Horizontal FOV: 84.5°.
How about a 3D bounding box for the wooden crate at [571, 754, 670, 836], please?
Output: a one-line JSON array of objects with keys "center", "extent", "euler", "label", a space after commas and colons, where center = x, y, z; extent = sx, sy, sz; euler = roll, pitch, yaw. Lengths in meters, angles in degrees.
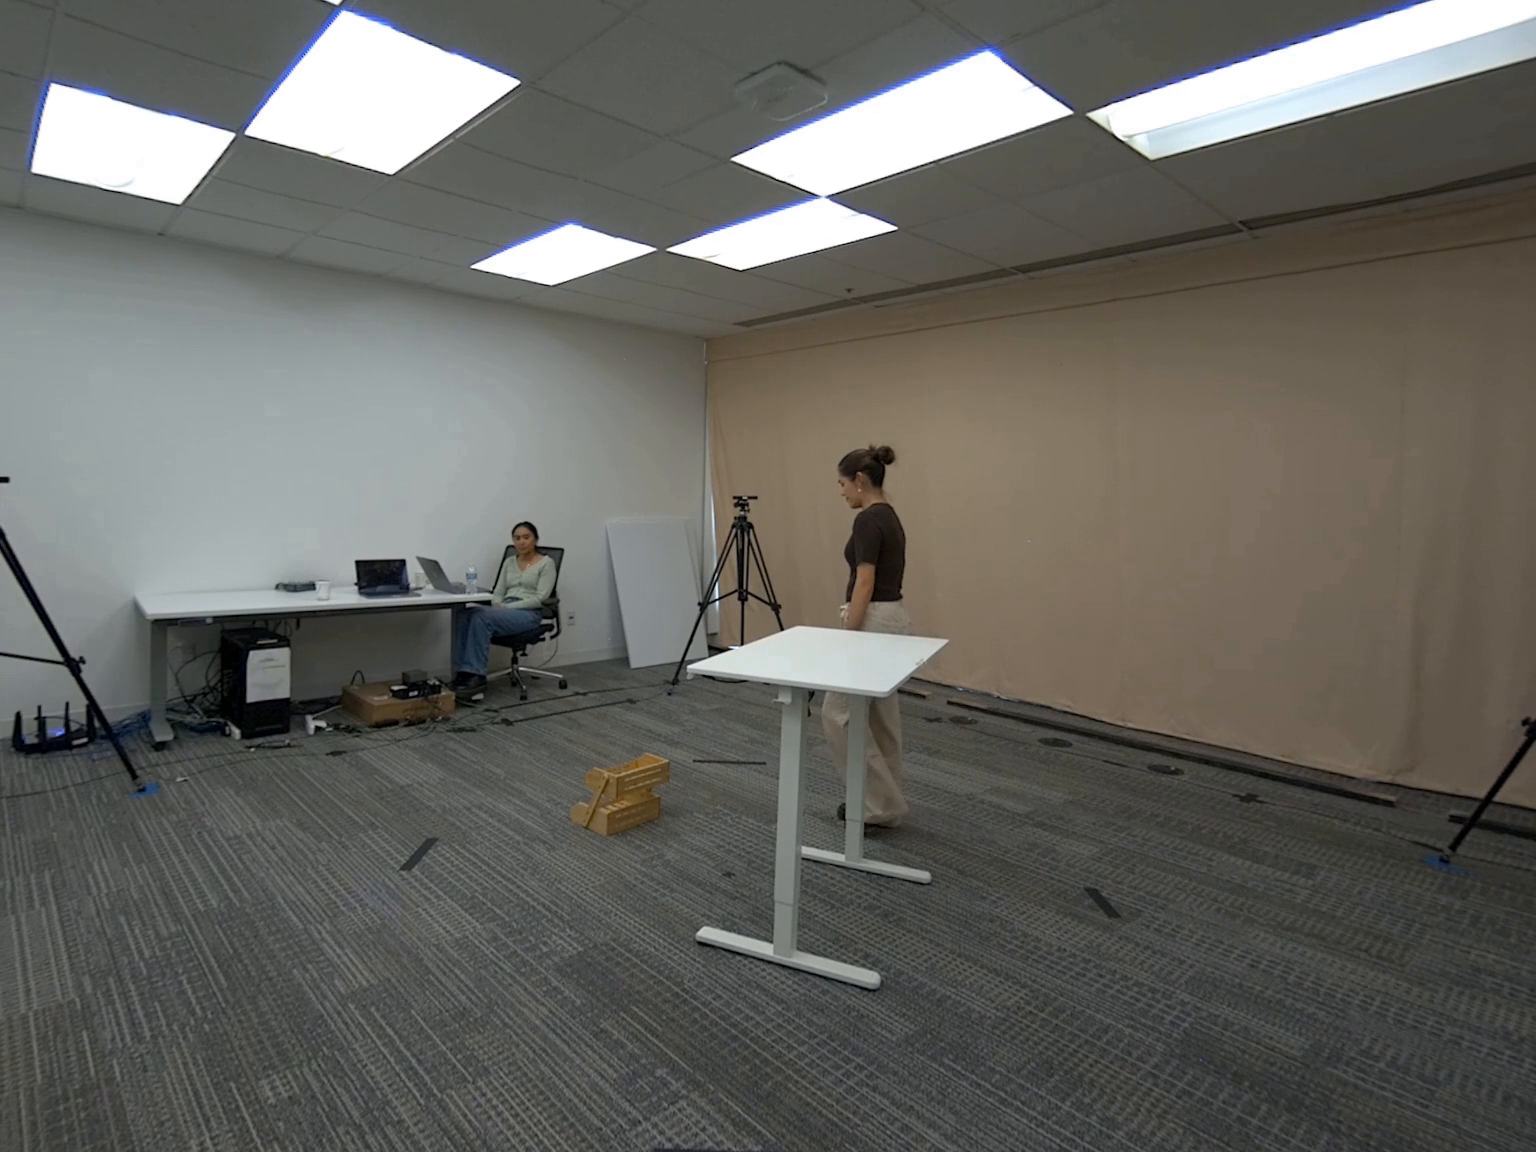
[{"center": [-0.650, 0.916, 3.601], "extent": [0.310, 0.272, 0.317], "euler": [6, 6, 39], "label": "wooden crate"}]
